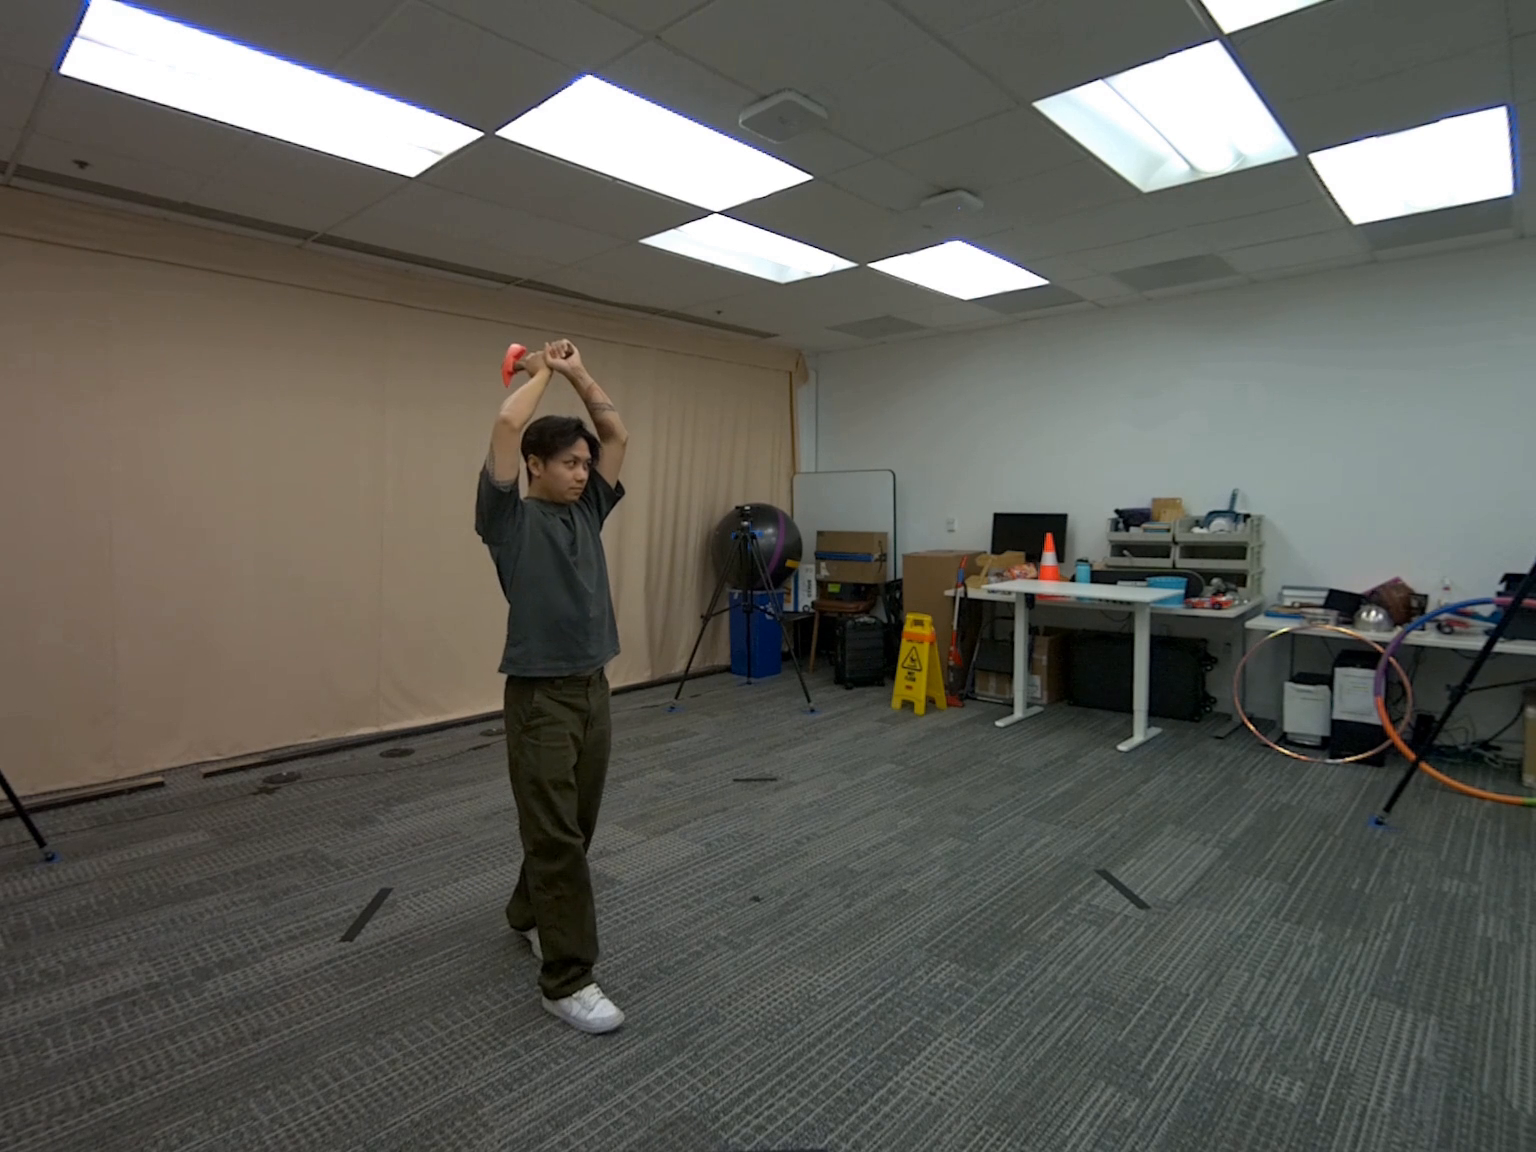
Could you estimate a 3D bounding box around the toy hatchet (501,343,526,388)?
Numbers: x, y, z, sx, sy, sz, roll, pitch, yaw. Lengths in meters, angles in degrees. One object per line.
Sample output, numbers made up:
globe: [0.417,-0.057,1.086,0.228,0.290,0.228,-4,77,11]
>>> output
toy hatchet: [-0.683,-0.668,2.479,0.275,0.133,0.028,-18,-18,26]
